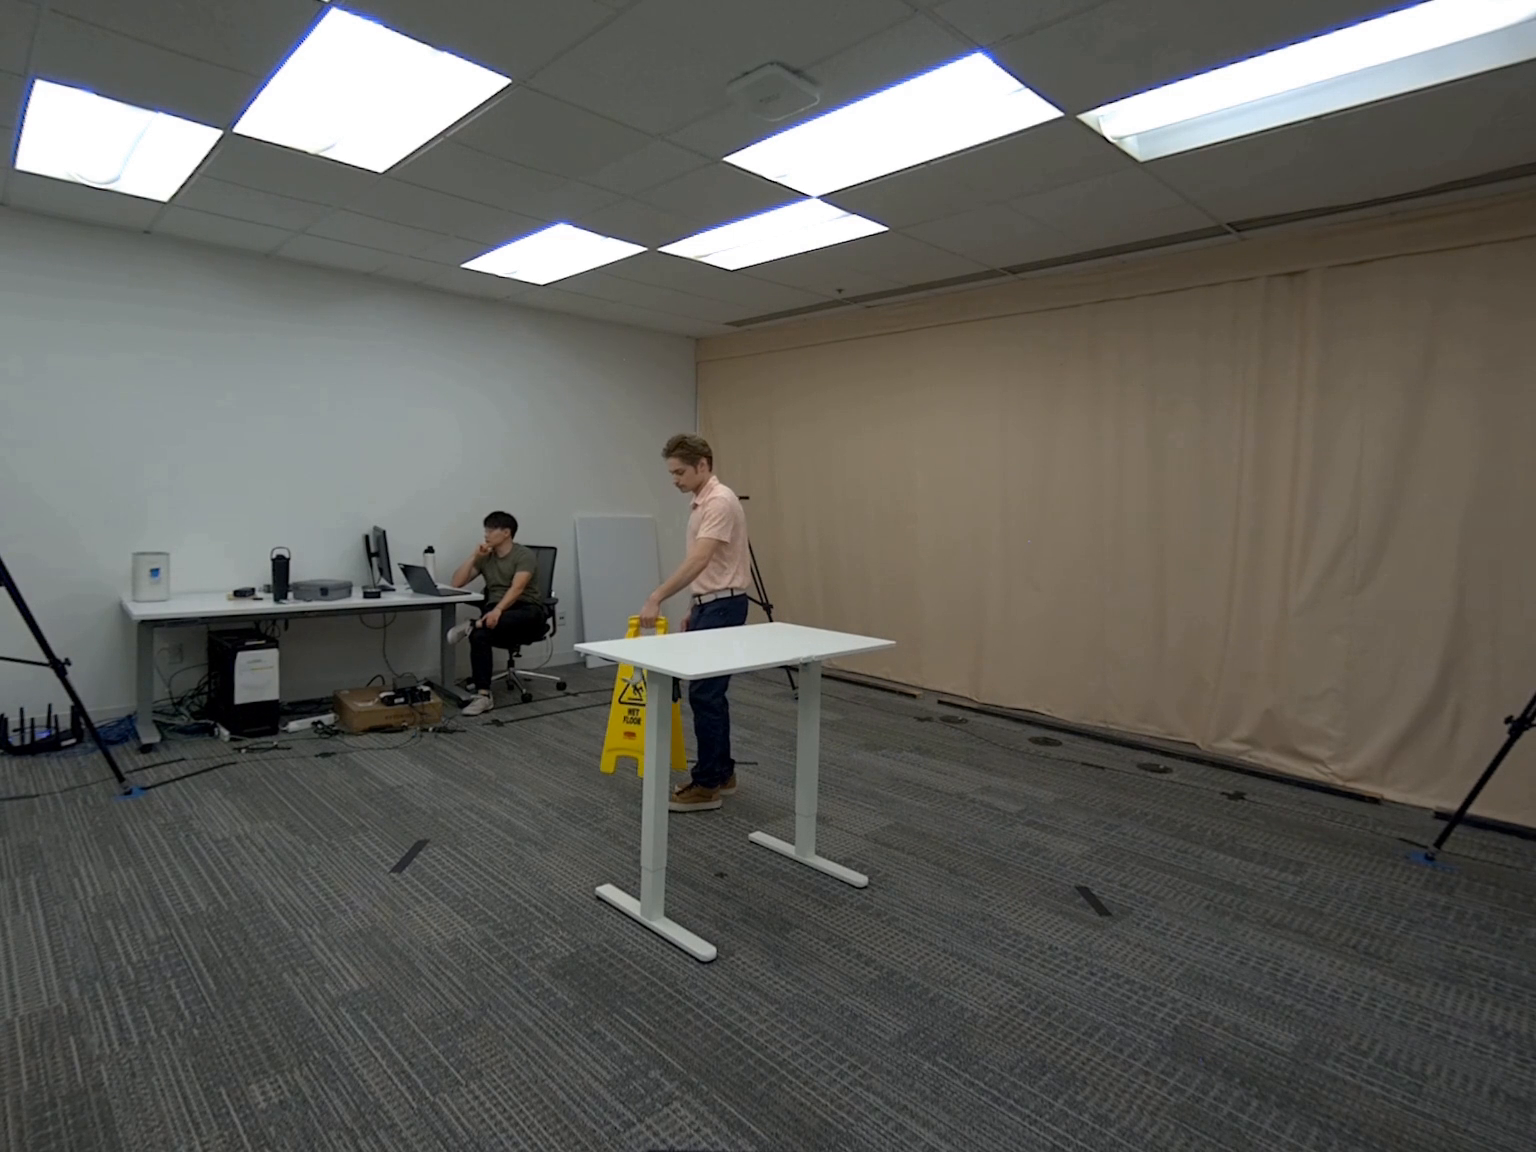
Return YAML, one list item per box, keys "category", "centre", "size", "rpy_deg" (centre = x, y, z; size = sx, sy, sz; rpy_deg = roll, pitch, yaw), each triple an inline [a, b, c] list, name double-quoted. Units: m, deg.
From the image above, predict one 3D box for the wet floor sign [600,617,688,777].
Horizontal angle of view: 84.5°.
- category: "wet floor sign"
  centre: [-0.531, 0.504, 3.589]
  size: [0.288, 0.648, 0.283]
  rpy_deg: [-1, -4, 31]
